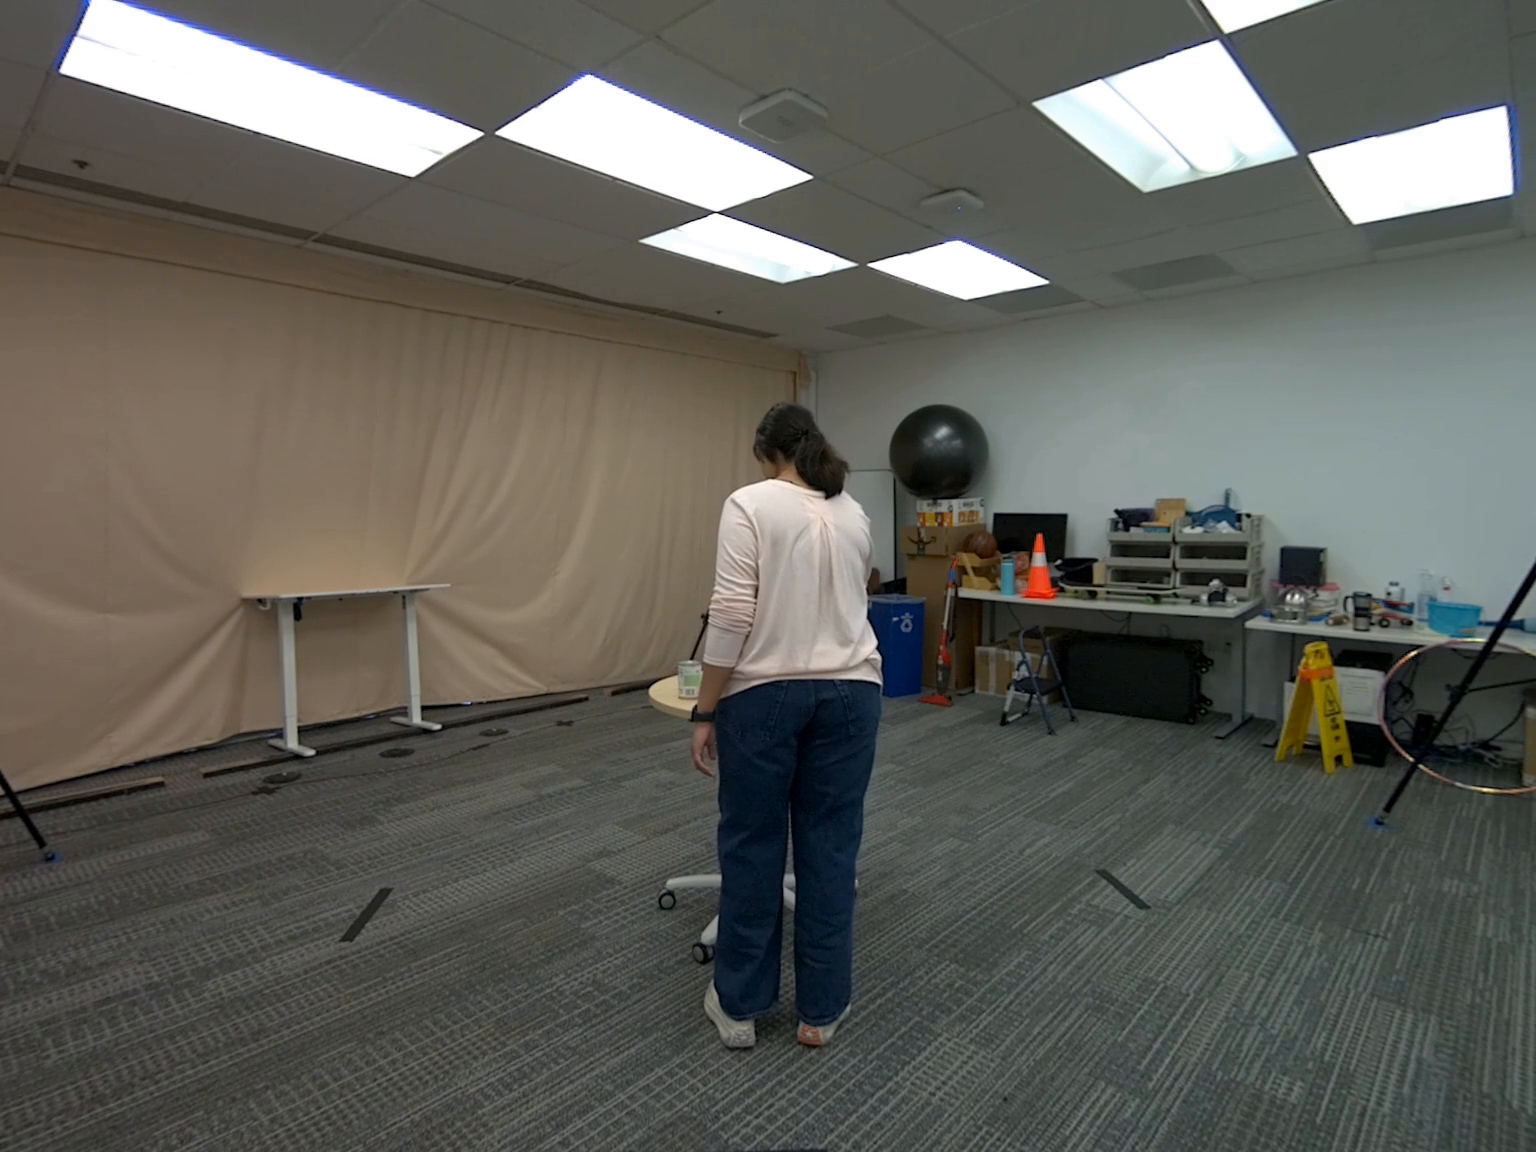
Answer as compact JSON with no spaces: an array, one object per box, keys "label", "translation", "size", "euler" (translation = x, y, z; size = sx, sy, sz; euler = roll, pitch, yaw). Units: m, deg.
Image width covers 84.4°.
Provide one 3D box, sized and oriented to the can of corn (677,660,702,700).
[{"label":"can of corn","translation":[-0.239,0.333,2.672],"size":[0.074,0.111,0.074],"euler":[0,2,-2]}]
